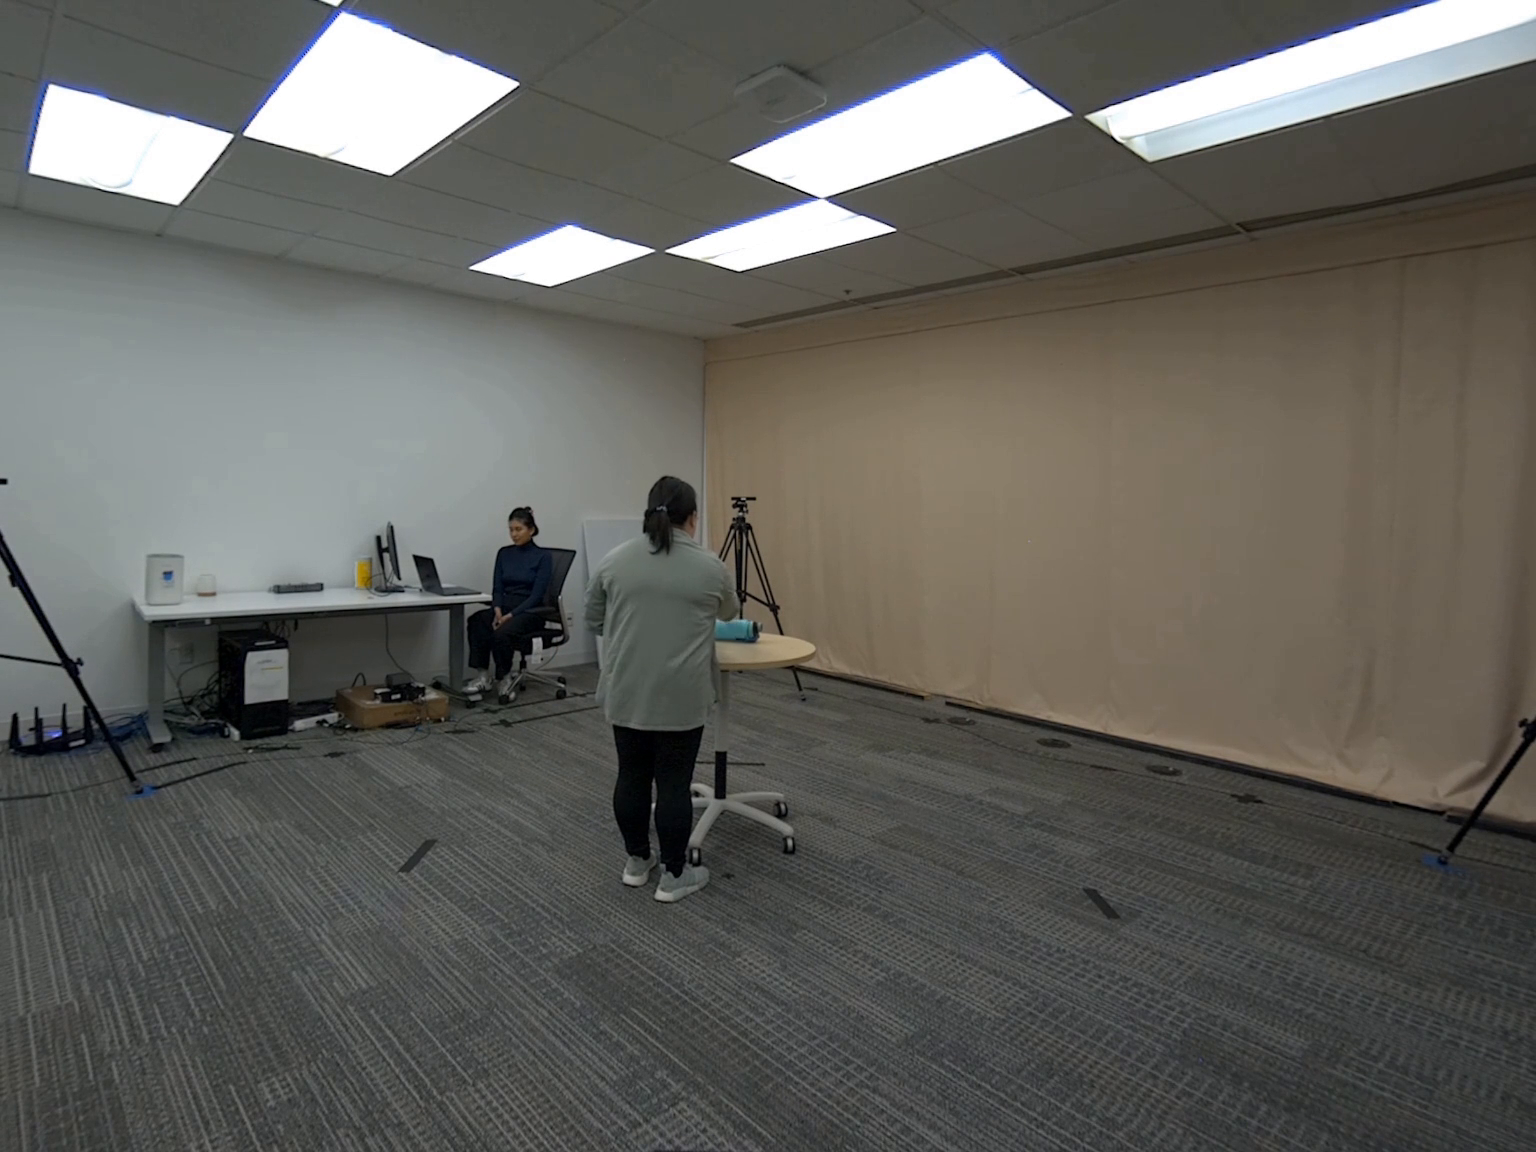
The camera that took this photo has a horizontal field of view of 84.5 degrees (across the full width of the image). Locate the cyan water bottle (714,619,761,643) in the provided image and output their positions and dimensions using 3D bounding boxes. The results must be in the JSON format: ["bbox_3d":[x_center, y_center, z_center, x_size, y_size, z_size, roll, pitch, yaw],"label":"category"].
[{"bbox_3d":[-0.178,0.235,3.607,0.286,0.092,0.091,1,4,12],"label":"cyan water bottle"}]
